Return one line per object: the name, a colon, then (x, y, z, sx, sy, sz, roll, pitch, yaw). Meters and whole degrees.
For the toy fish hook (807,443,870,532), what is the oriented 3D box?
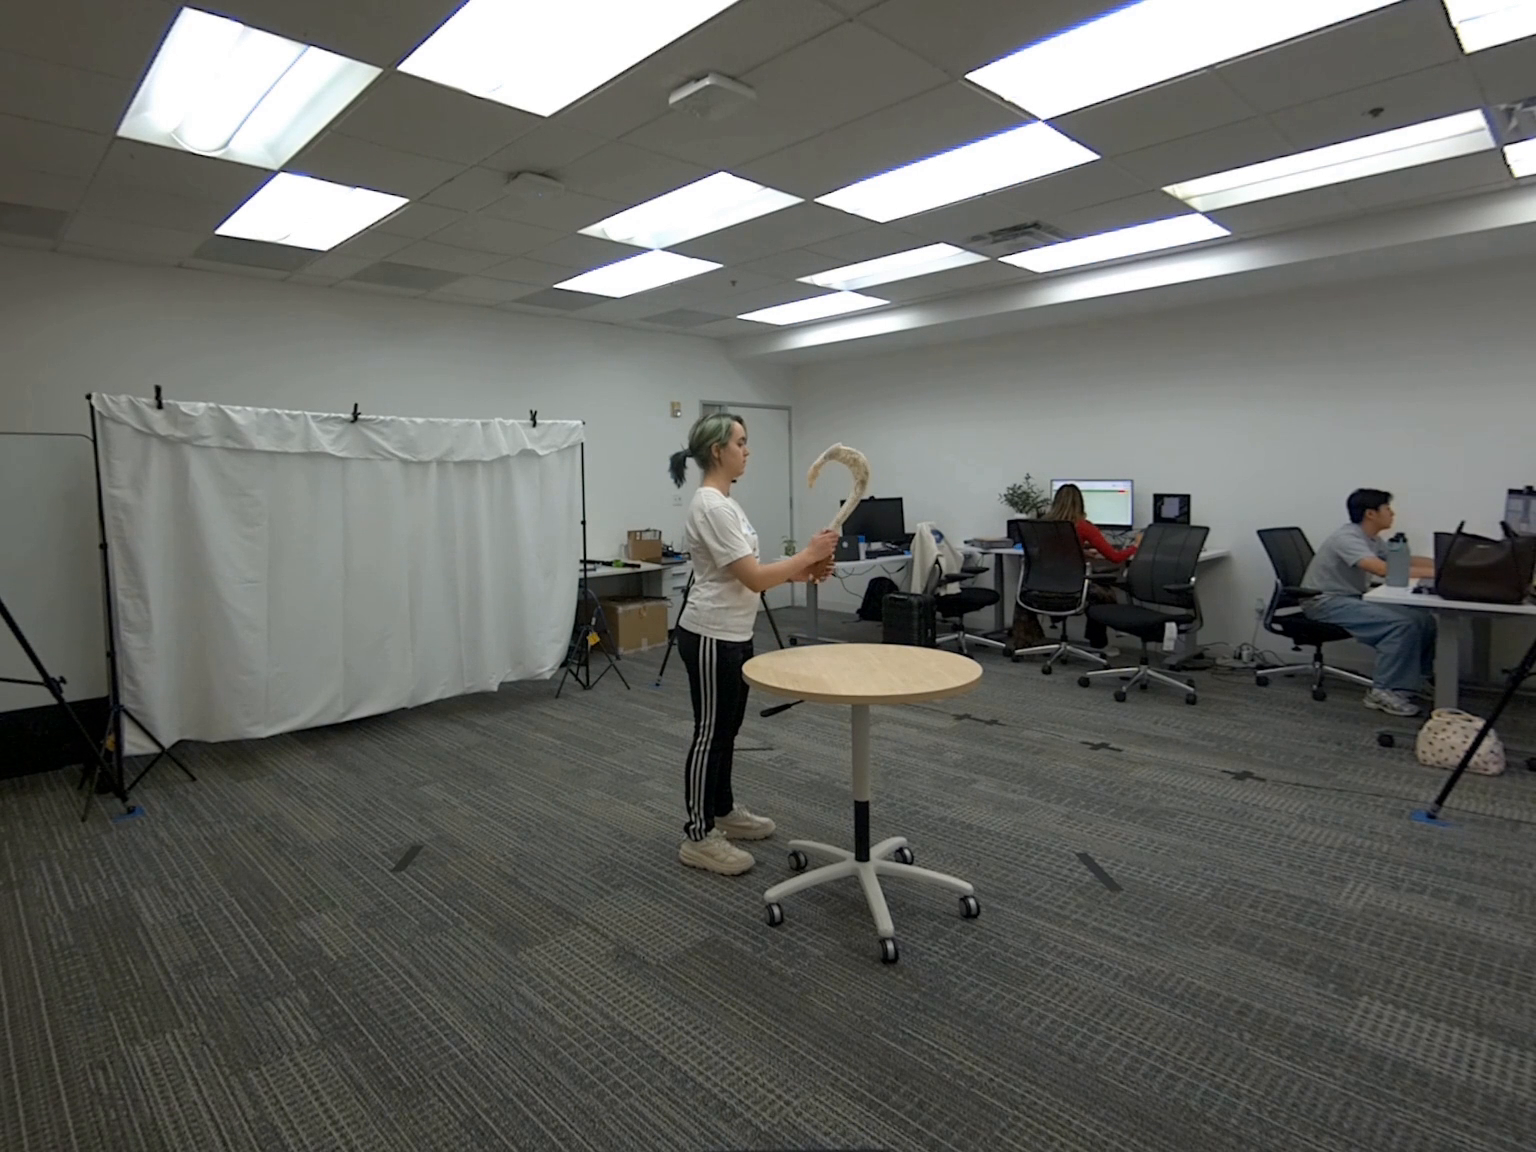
toy fish hook: (0.211, -0.223, 3.079, 0.223, 0.507, 0.048, 21, -1, -4)
